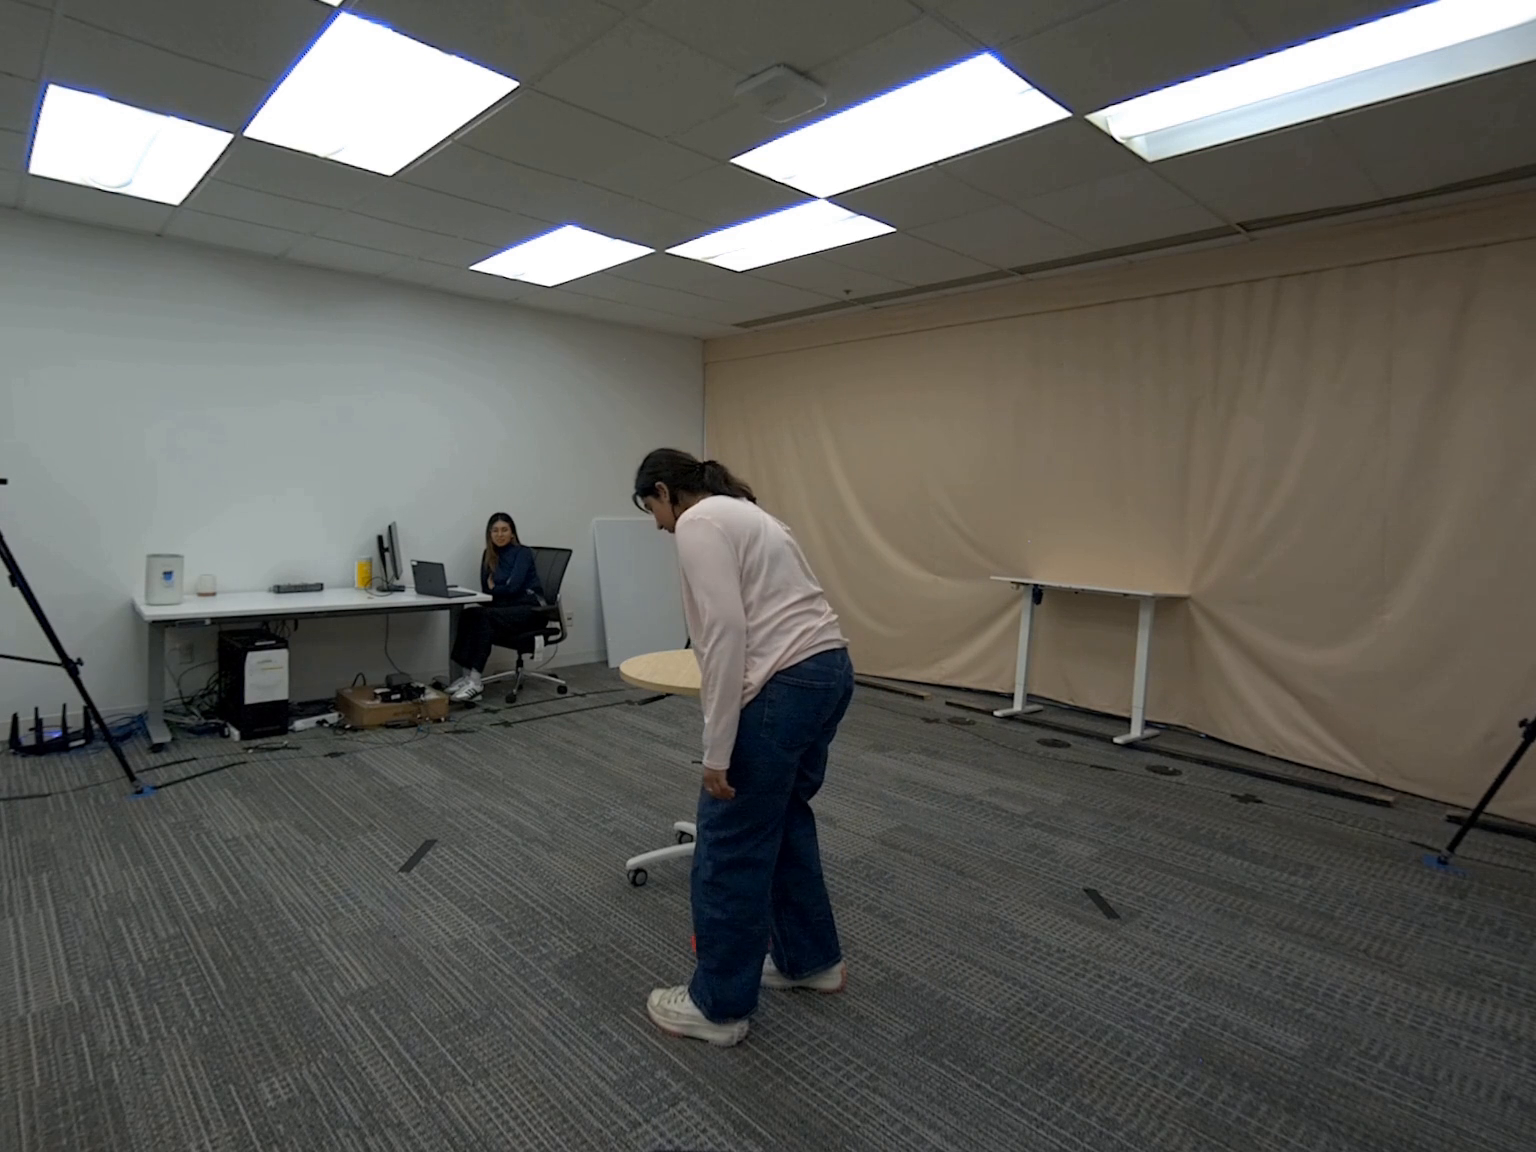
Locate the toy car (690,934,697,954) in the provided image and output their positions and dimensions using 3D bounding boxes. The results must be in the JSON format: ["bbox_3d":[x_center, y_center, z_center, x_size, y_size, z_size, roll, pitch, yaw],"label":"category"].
[{"bbox_3d":[-0.104,1.130,2.572,0.252,0.083,0.132,-11,8,-16],"label":"toy car"}]
